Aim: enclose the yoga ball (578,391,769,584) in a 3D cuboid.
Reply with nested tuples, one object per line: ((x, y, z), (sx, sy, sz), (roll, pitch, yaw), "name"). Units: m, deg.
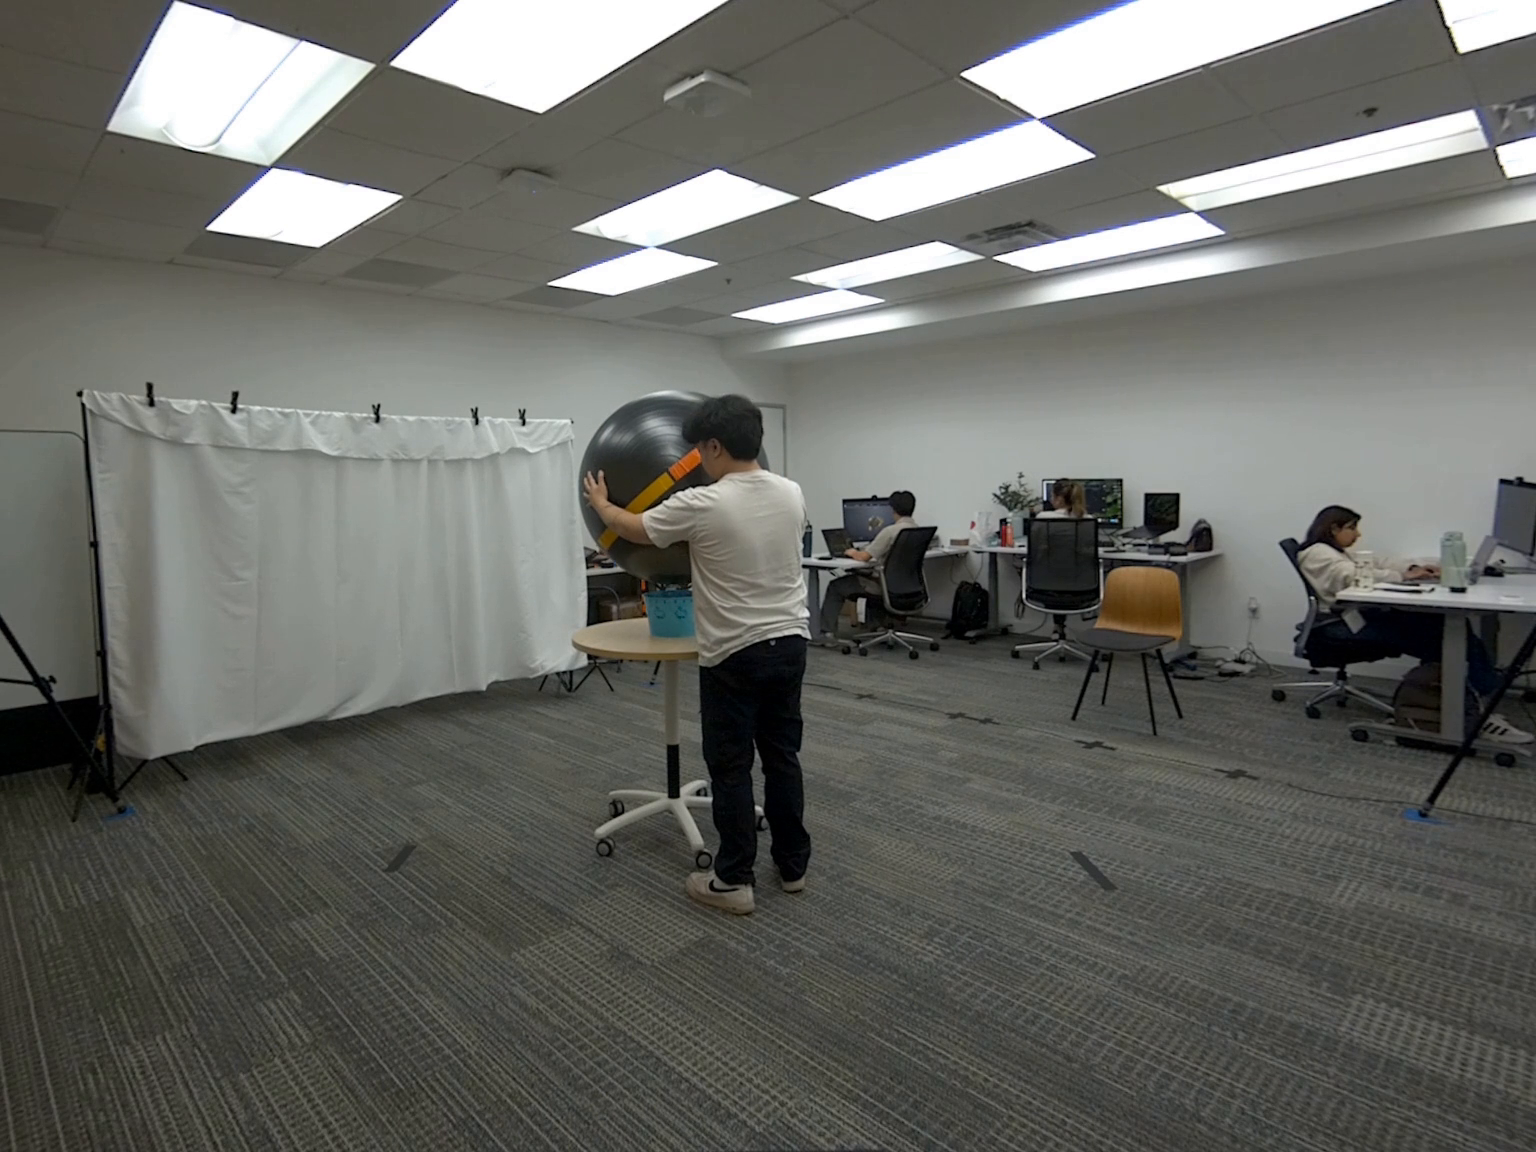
((-0.370, -0.347, 3.370), (0.757, 0.755, 0.762), (-1, 5, -2), "yoga ball")
